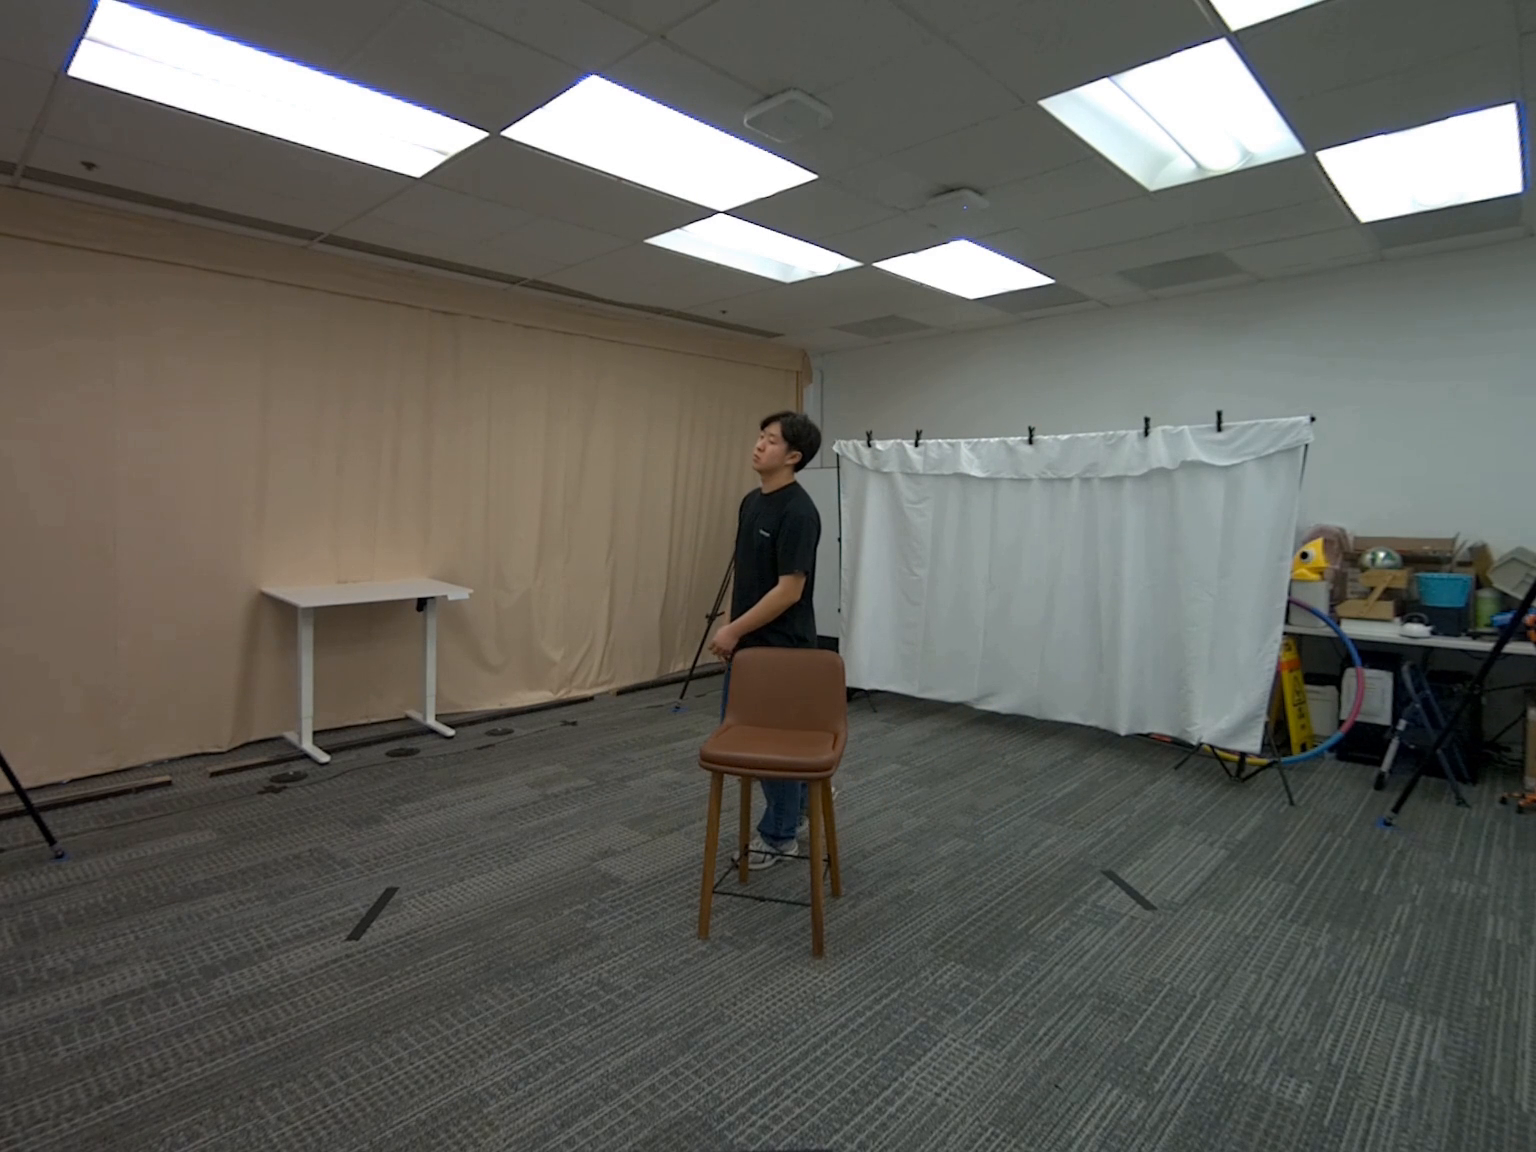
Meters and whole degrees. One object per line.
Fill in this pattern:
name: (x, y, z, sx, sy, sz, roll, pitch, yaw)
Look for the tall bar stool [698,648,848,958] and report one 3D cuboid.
tall bar stool: (0.033, 0.717, 2.844, 0.466, 0.889, 0.459, 1, 1, 18)
